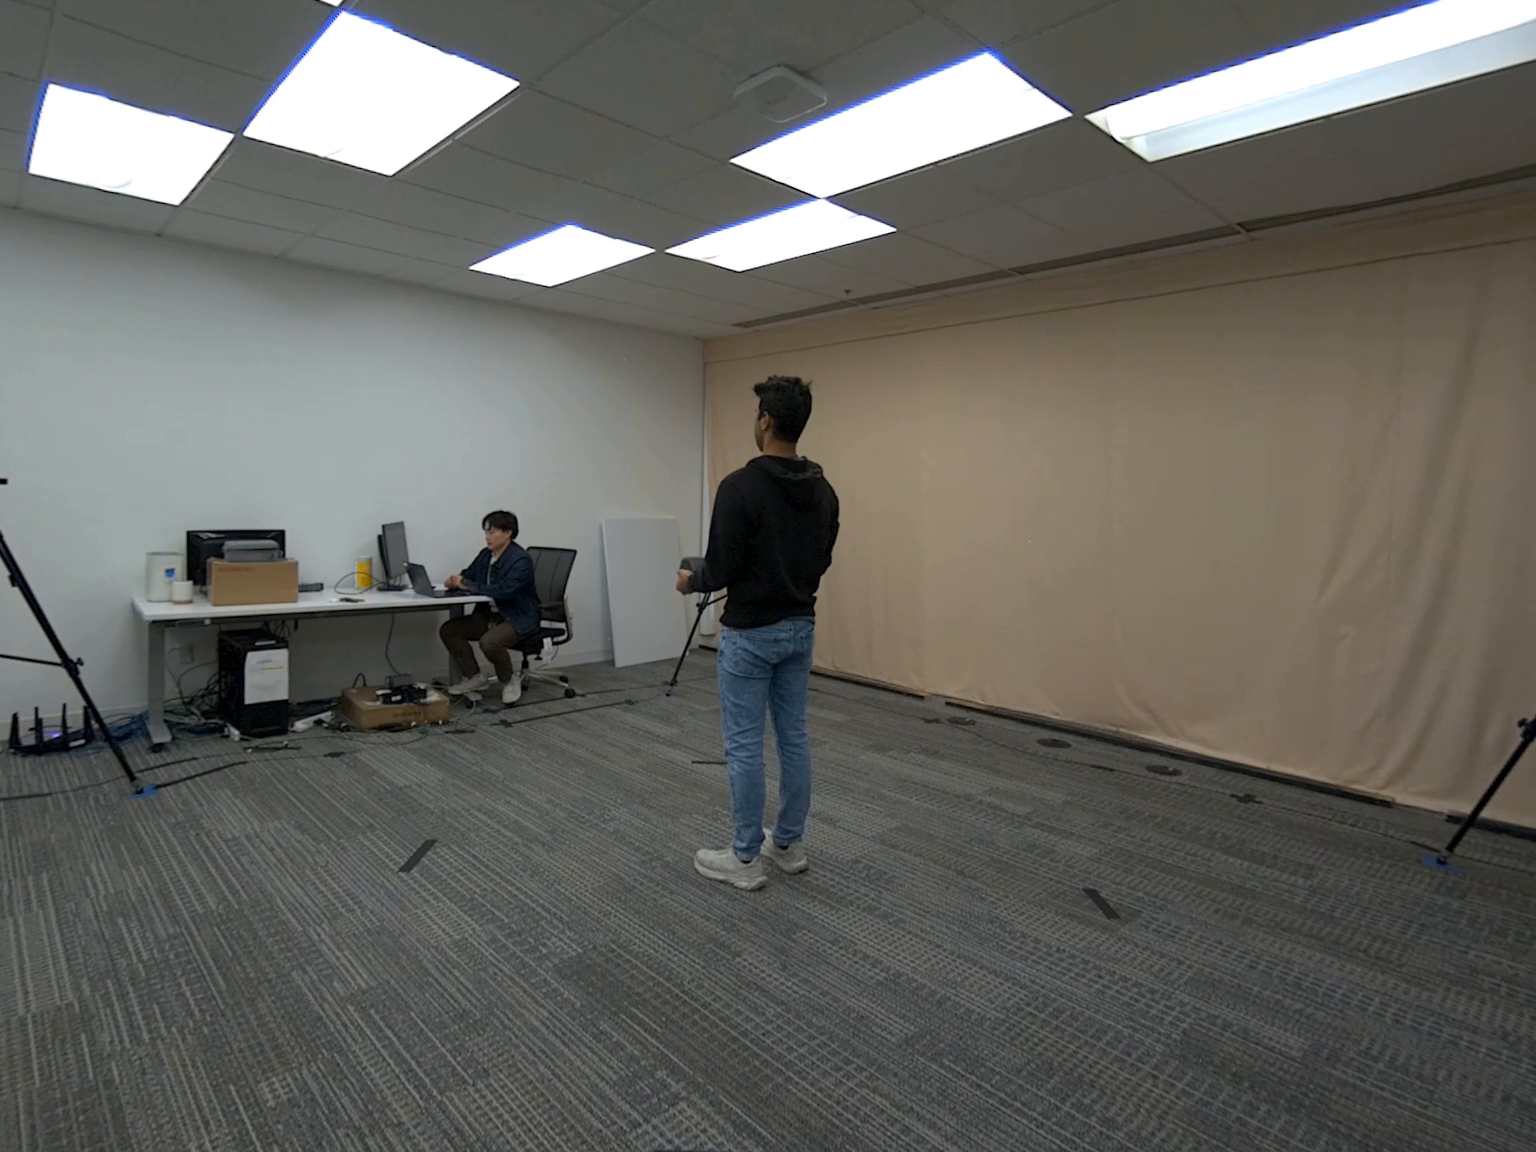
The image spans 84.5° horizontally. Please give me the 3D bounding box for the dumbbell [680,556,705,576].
[{"bbox_3d":[-0.198,-0.020,3.307,0.287,0.122,0.112,0,31,-36],"label":"dumbbell"}]
